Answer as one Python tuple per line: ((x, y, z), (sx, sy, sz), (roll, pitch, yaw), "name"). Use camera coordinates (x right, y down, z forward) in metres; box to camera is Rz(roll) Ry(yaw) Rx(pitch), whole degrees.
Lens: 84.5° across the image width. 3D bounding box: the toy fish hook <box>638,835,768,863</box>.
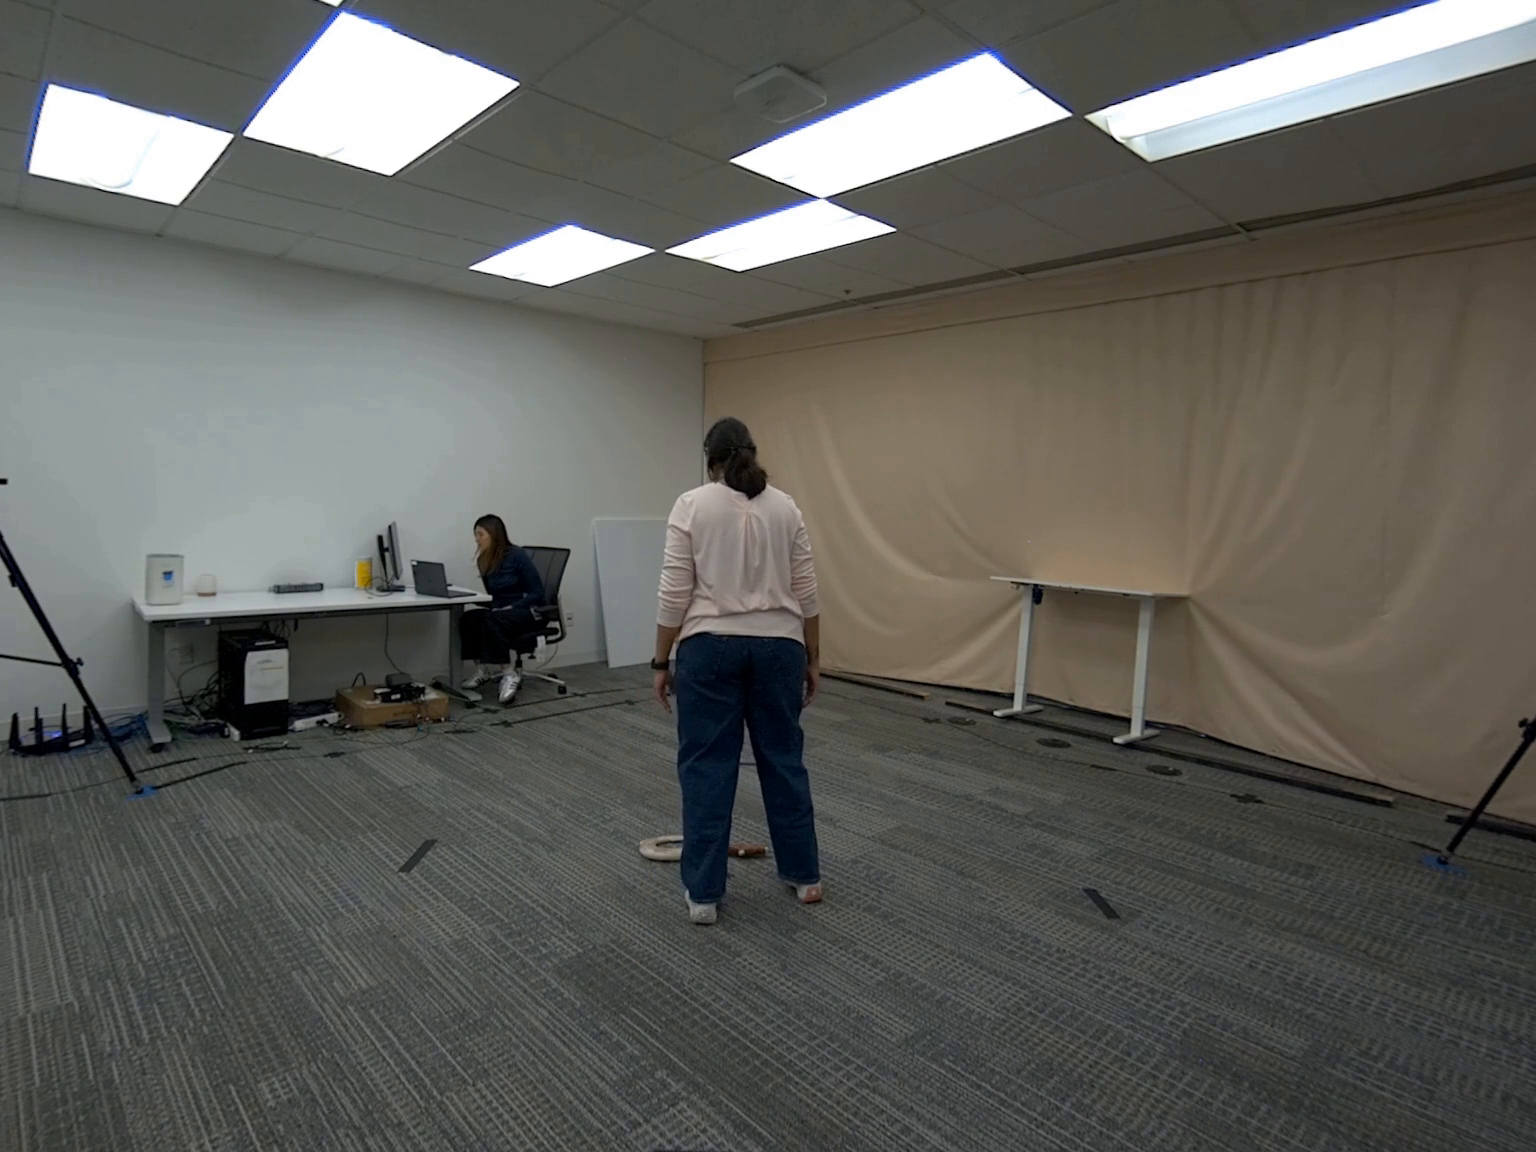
((-0.256, 1.062, 3.314), (0.504, 0.048, 0.226), (2, 6, -5), "toy fish hook")
